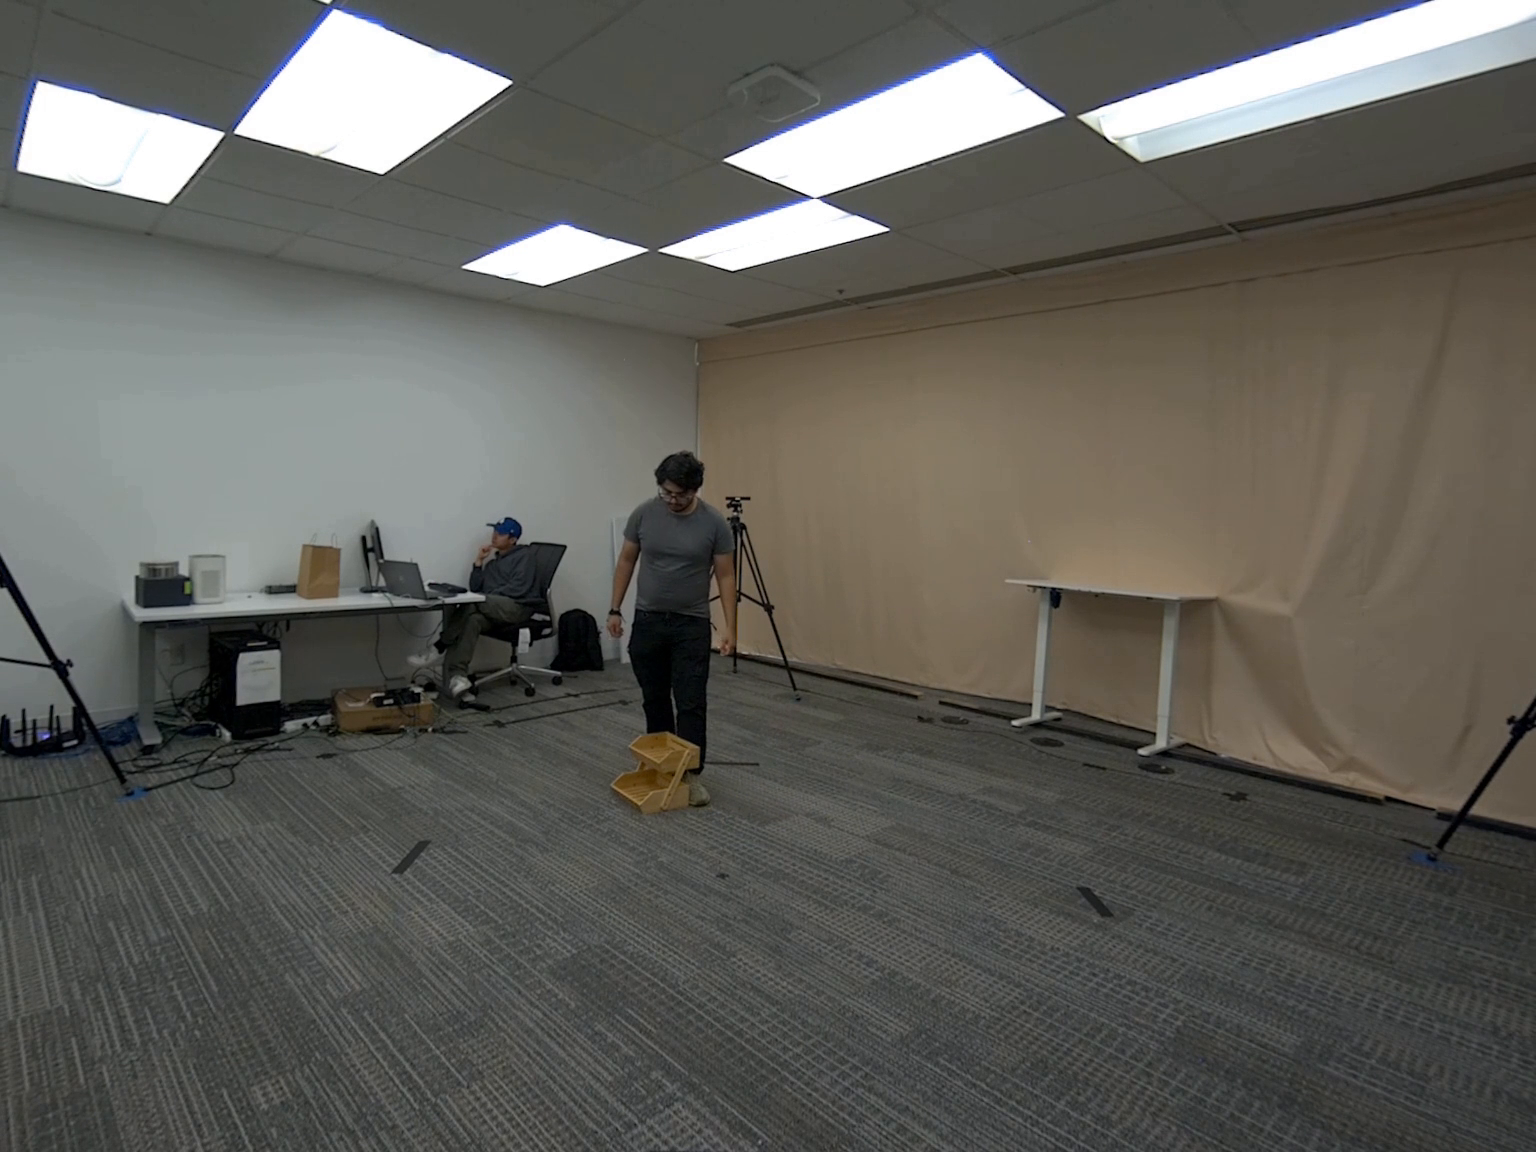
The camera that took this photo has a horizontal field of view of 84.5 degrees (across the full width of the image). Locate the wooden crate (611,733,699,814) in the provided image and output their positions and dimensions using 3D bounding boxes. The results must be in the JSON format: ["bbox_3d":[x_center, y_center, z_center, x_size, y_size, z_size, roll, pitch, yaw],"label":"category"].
[{"bbox_3d":[-0.545,0.901,3.879,0.295,0.272,0.332,-1,5,-35],"label":"wooden crate"}]
